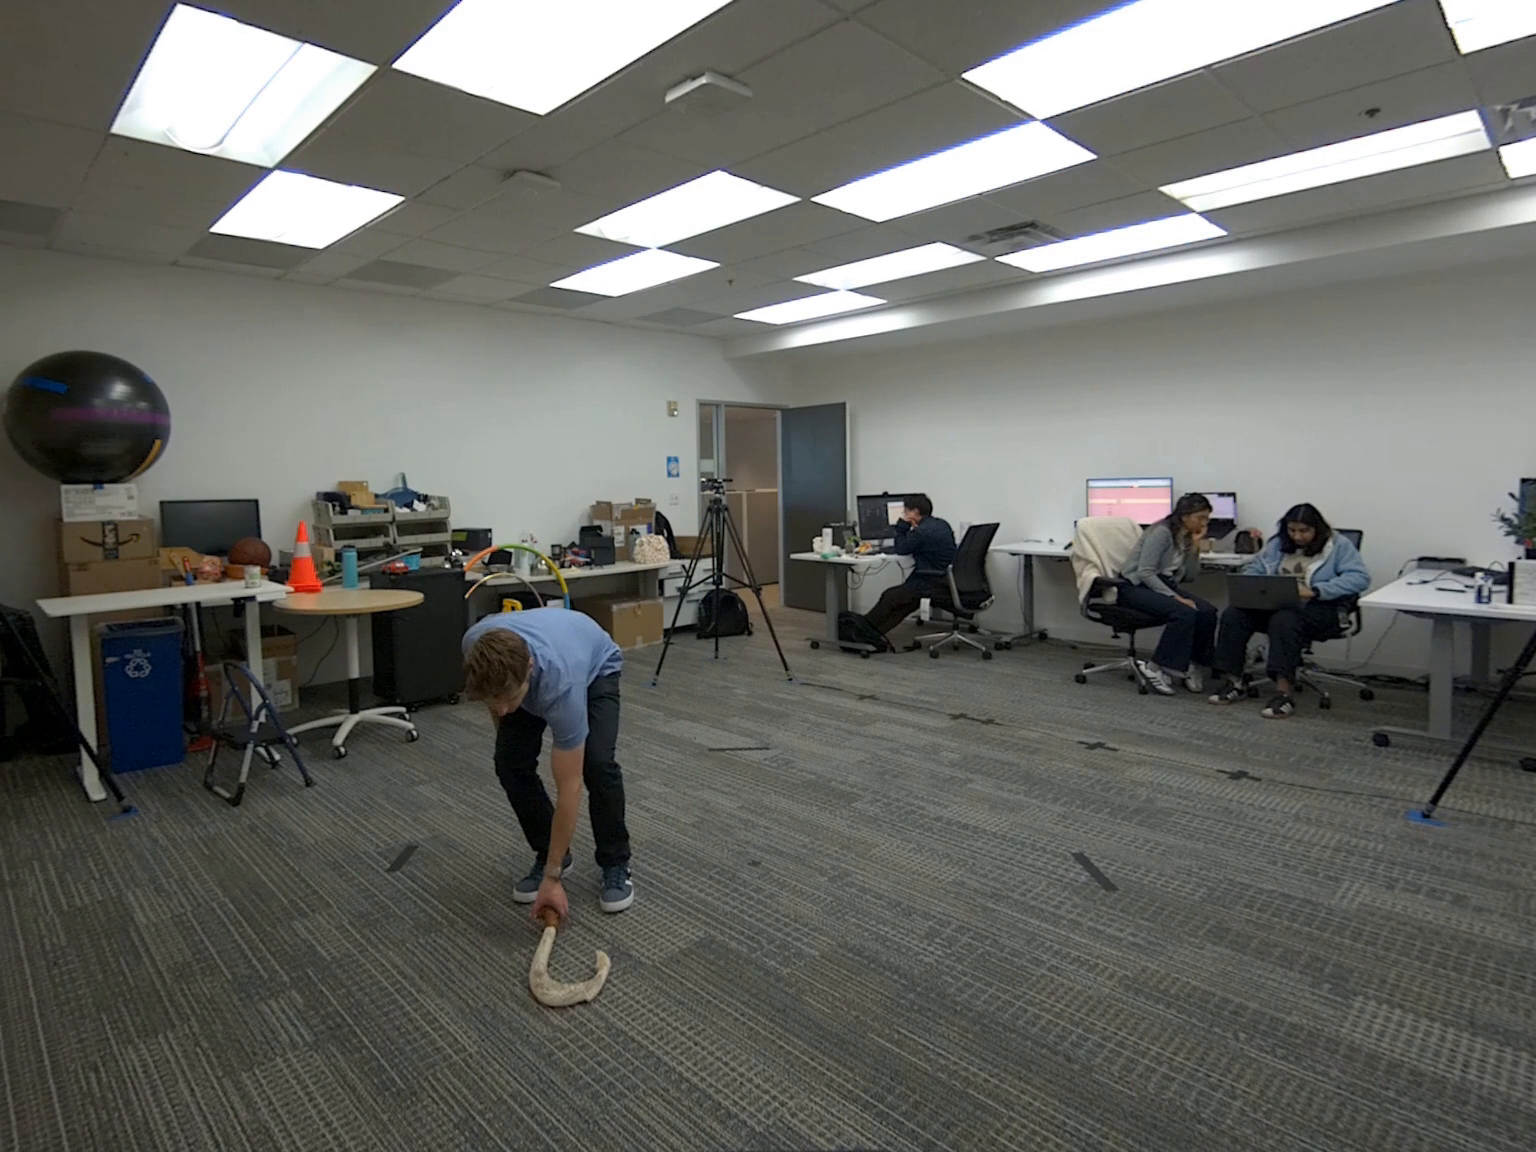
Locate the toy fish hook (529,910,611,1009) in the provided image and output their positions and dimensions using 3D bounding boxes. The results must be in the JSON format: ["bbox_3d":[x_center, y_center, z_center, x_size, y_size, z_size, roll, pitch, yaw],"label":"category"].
[{"bbox_3d":[-0.592,1.087,2.515,0.221,0.048,0.520,2,13,-18],"label":"toy fish hook"}]
